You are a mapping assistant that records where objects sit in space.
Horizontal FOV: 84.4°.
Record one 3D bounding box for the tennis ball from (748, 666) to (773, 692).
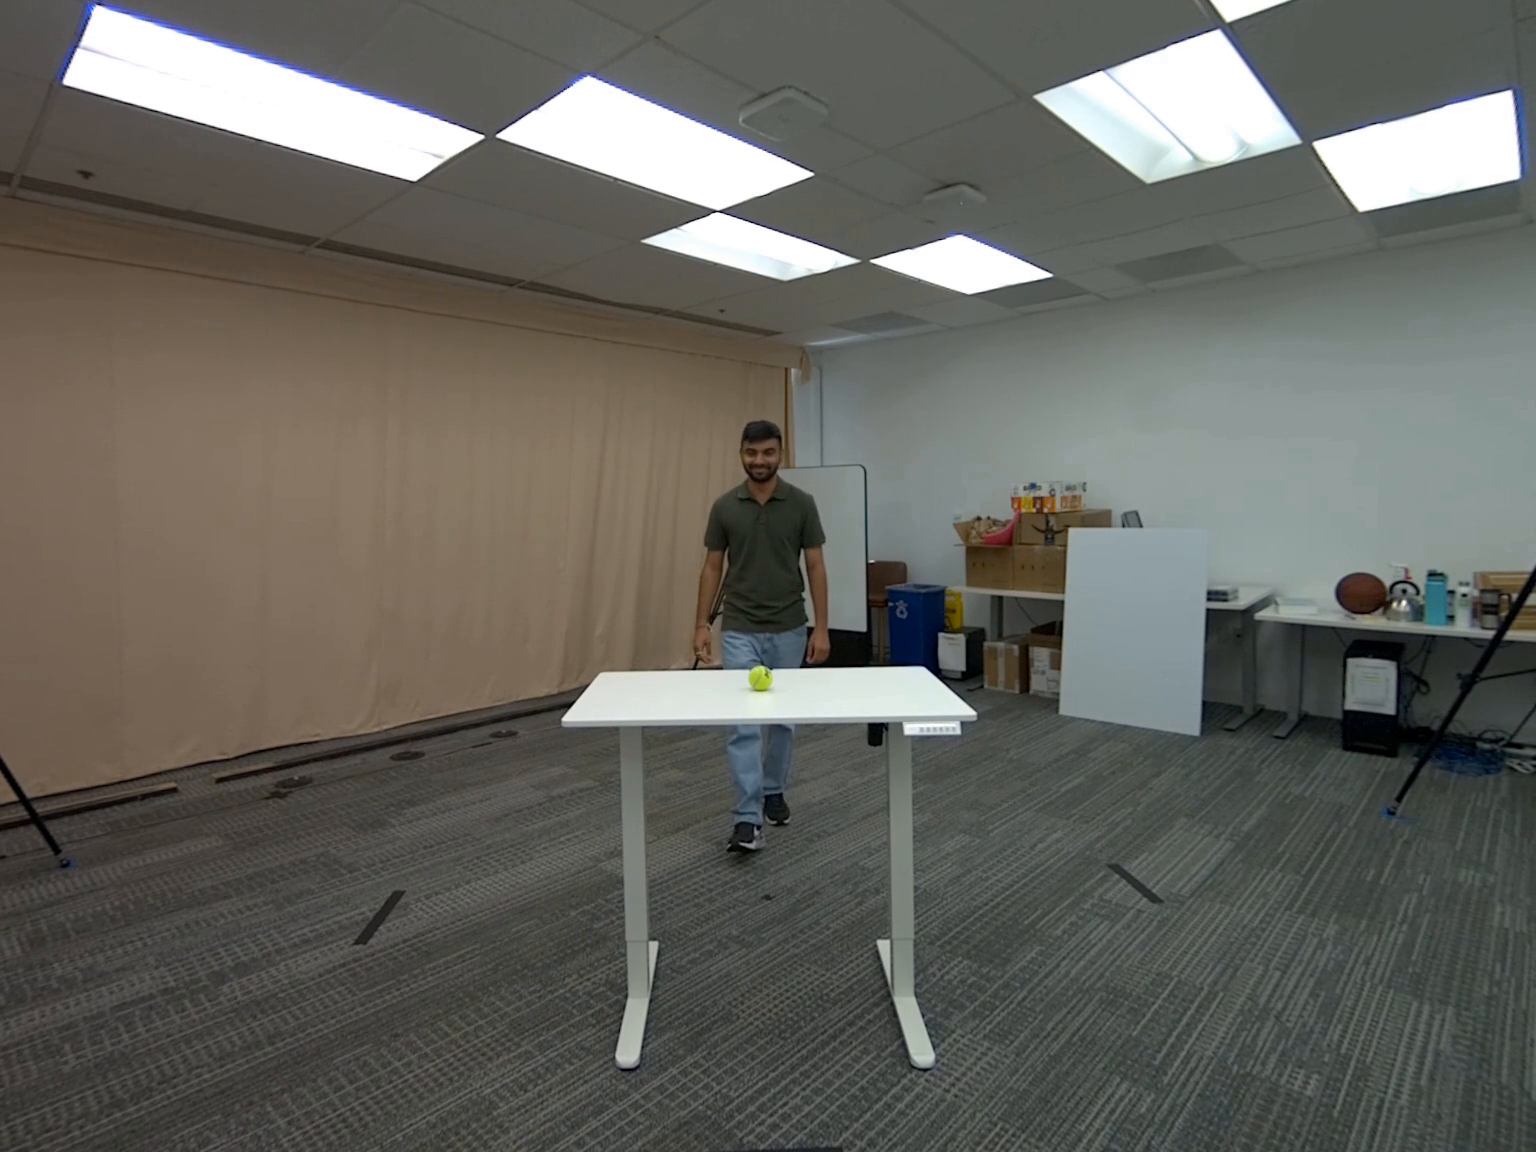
[{"bbox_3d":[-0.023,0.282,2.335,0.066,0.066,0.067,-1,4,-2],"label":"tennis ball"}]
